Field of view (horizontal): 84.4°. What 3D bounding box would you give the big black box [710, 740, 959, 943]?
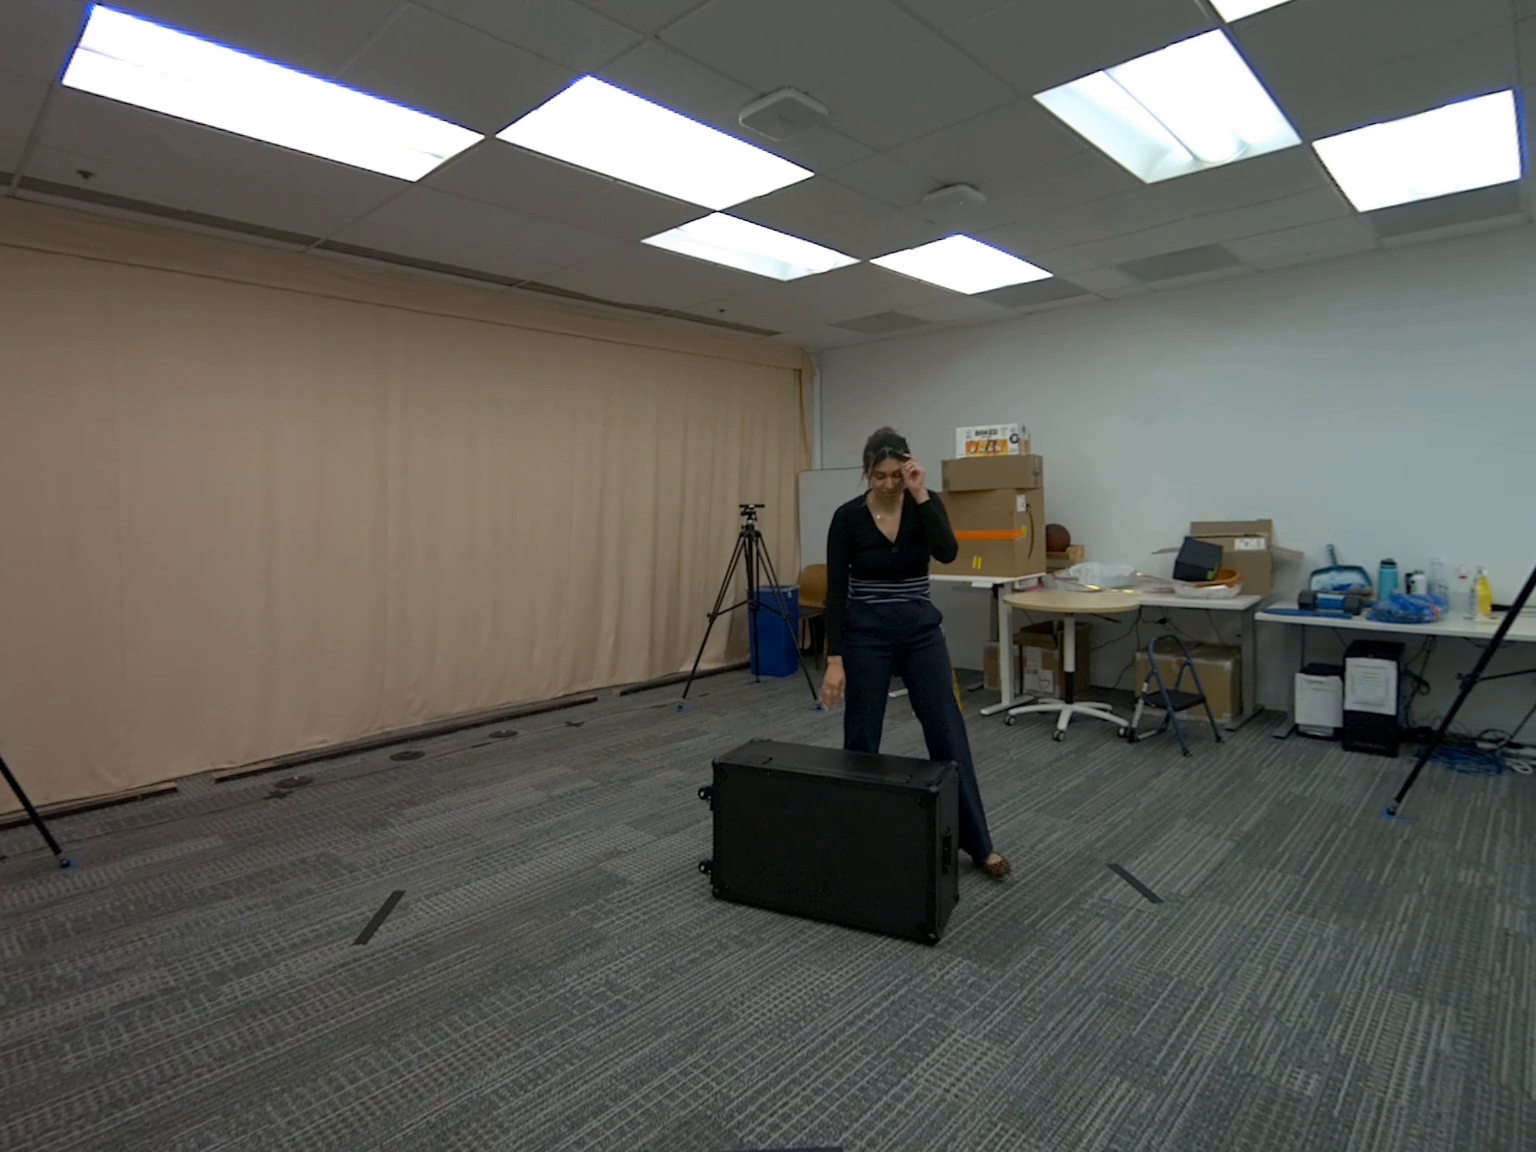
[{"bbox_3d":[0.212,0.879,2.966,0.883,0.521,0.387,2,2,25],"label":"big black box"}]
